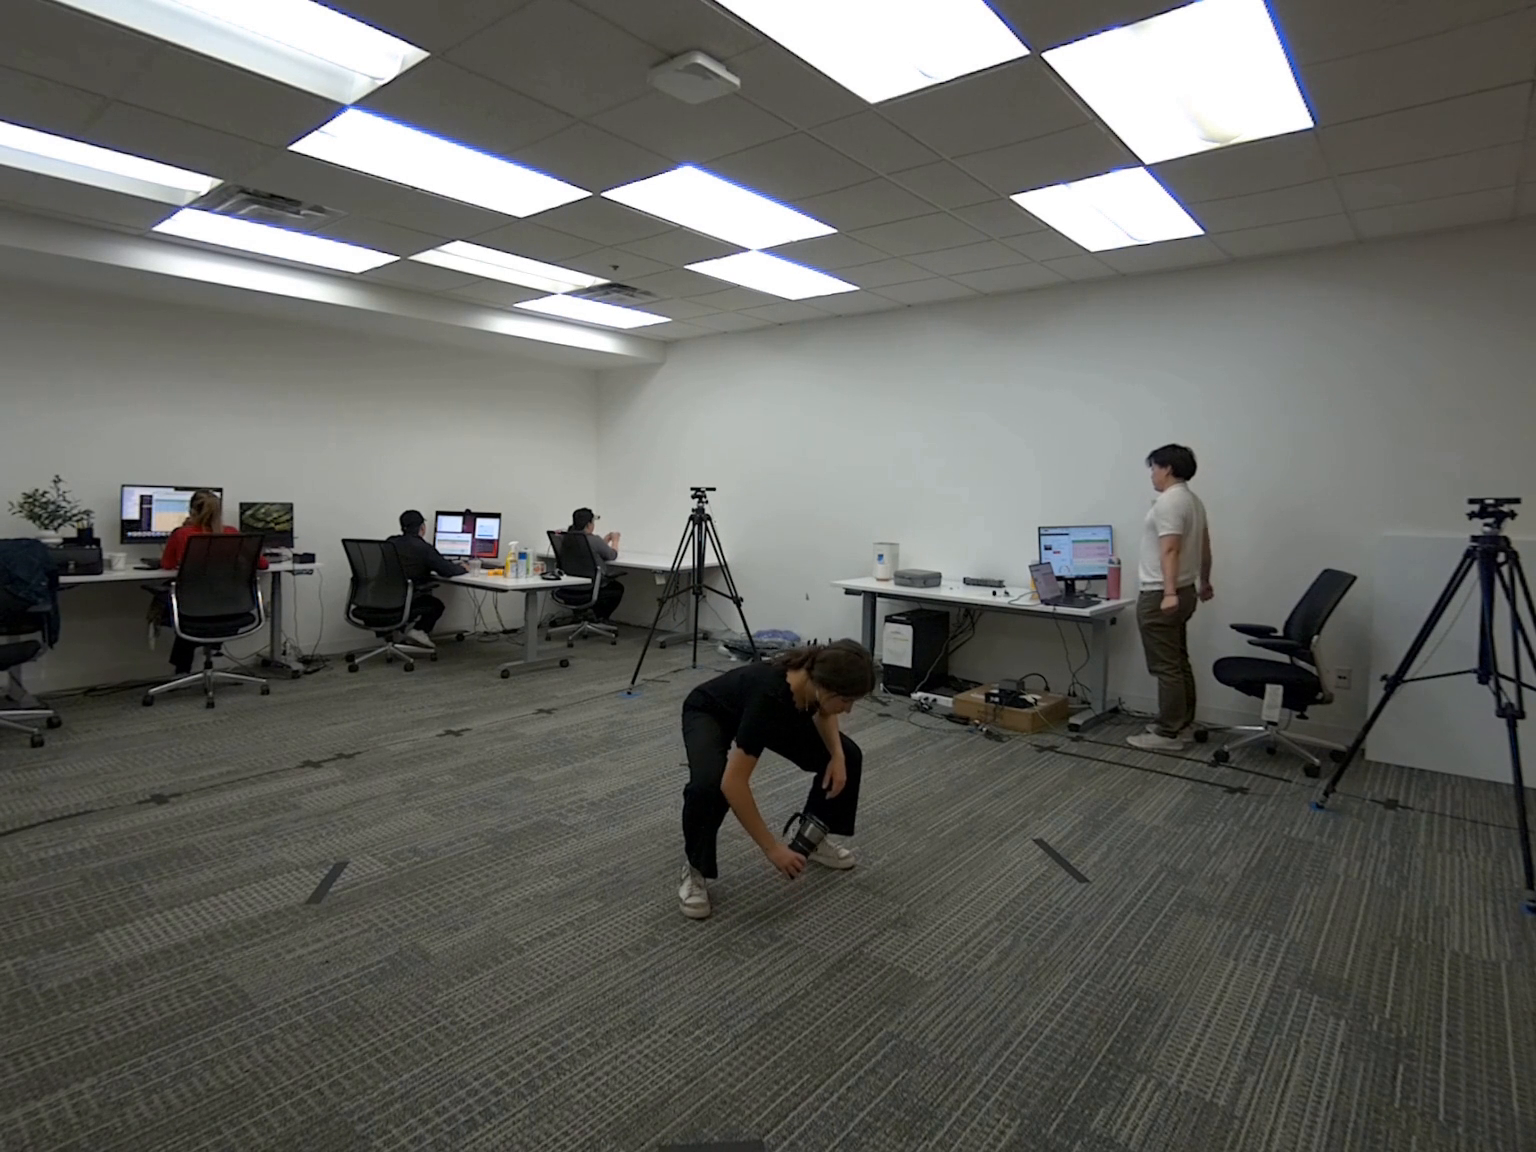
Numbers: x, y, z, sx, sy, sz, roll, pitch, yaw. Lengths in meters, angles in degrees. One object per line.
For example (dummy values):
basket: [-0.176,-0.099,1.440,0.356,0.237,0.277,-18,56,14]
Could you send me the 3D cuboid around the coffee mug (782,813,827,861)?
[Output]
coffee mug: [0.091,0.871,2.783,0.127,0.203,0.084,32,-6,40]
